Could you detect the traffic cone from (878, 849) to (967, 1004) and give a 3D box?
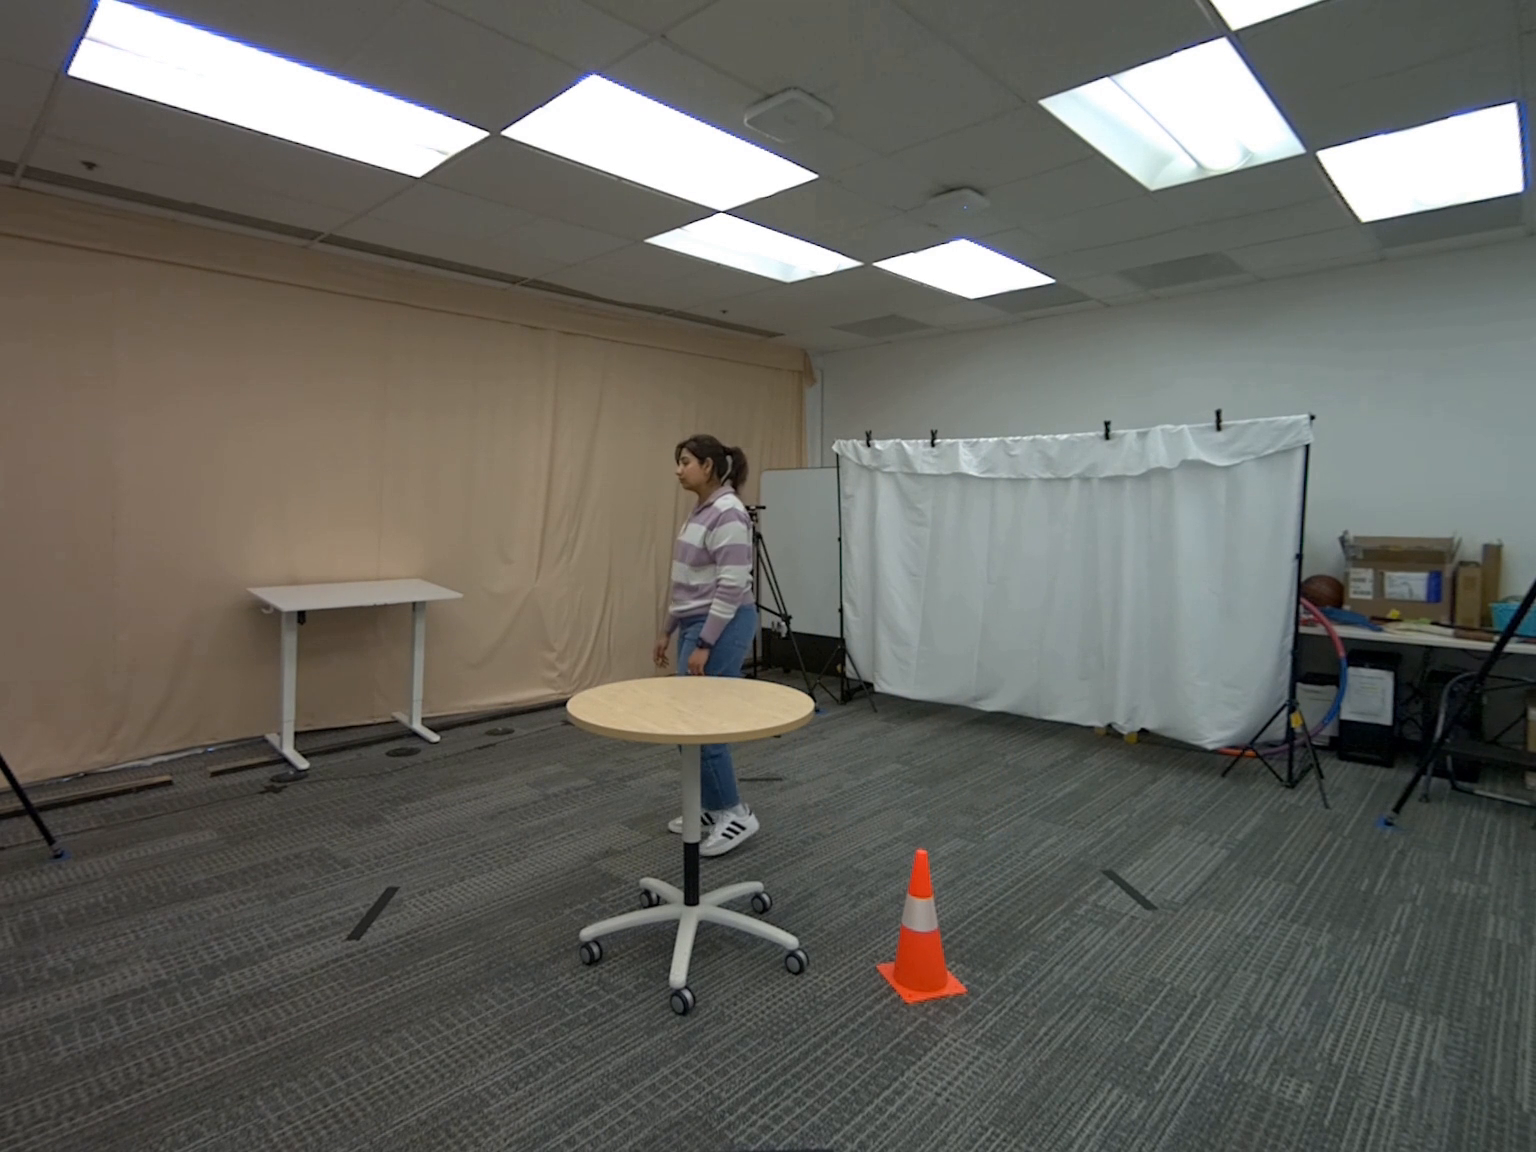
[{"bbox_3d":[0.455,1.002,2.470,0.200,0.383,0.209,-2,3,-17],"label":"traffic cone"}]
